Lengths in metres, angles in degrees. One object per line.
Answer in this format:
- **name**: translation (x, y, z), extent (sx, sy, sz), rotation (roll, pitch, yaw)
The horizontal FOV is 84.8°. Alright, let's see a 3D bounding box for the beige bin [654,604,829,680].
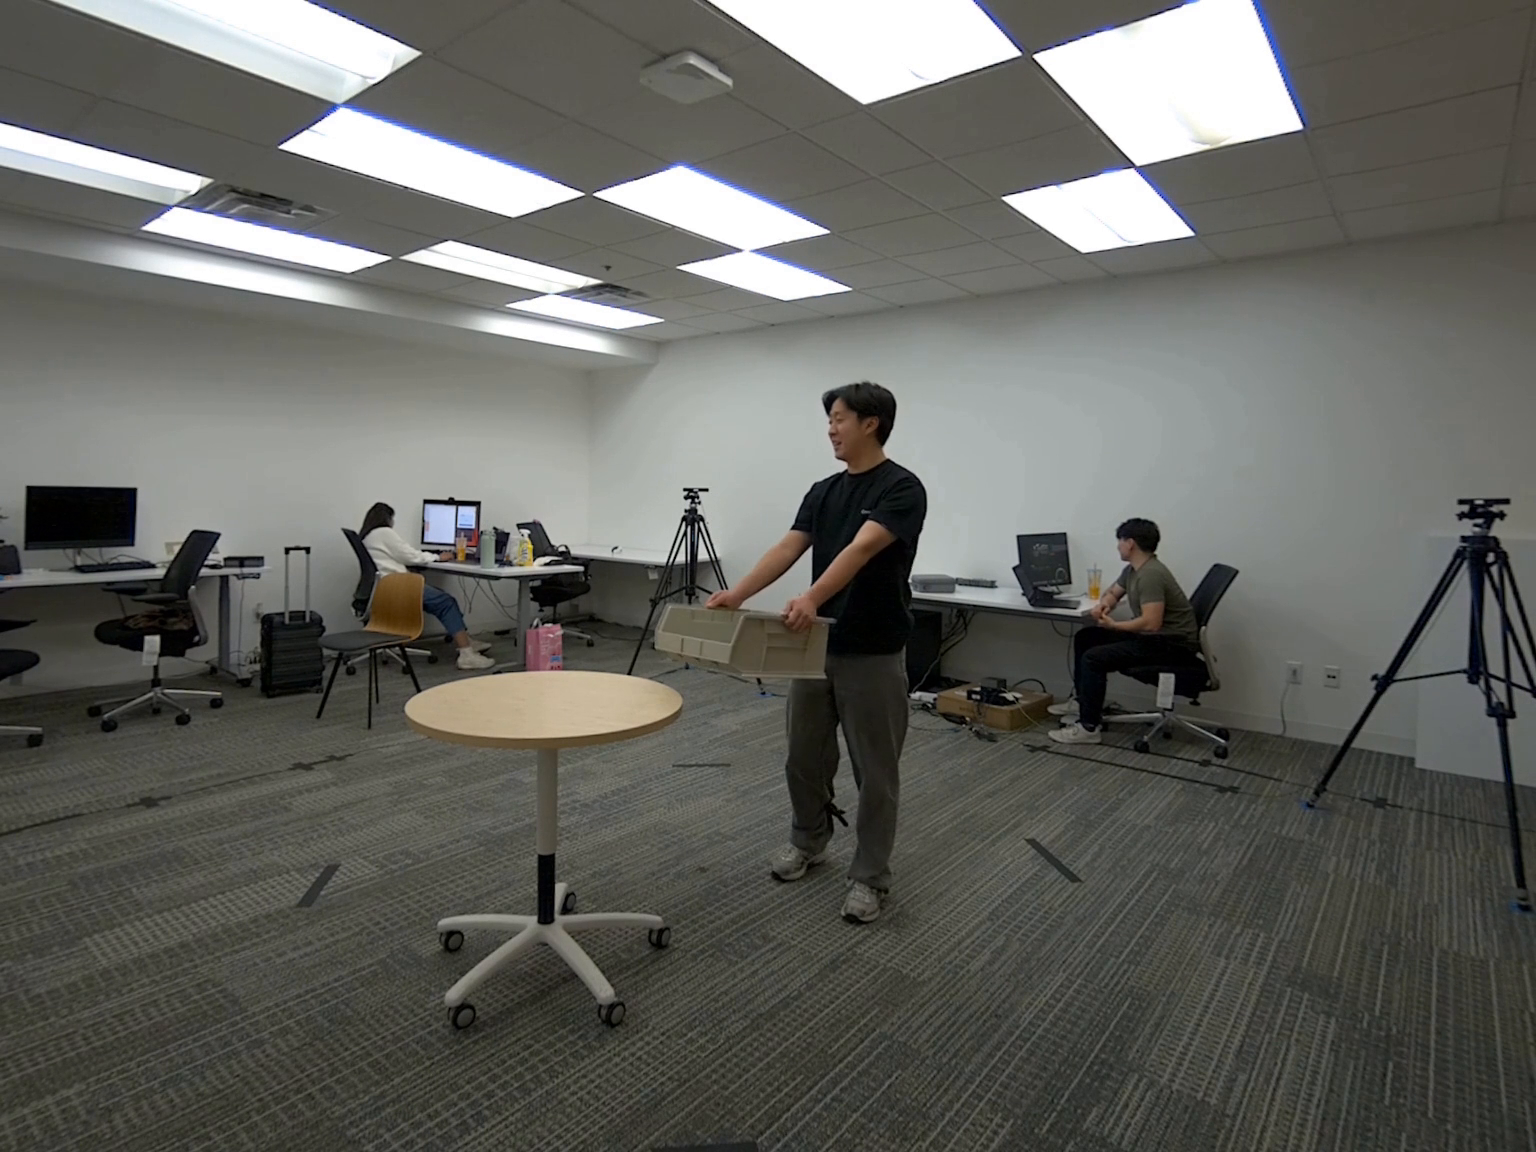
- **beige bin**: translation (-0.086, 0.197, 2.626), extent (0.365, 0.189, 0.435), rotation (7, -3, -36)
